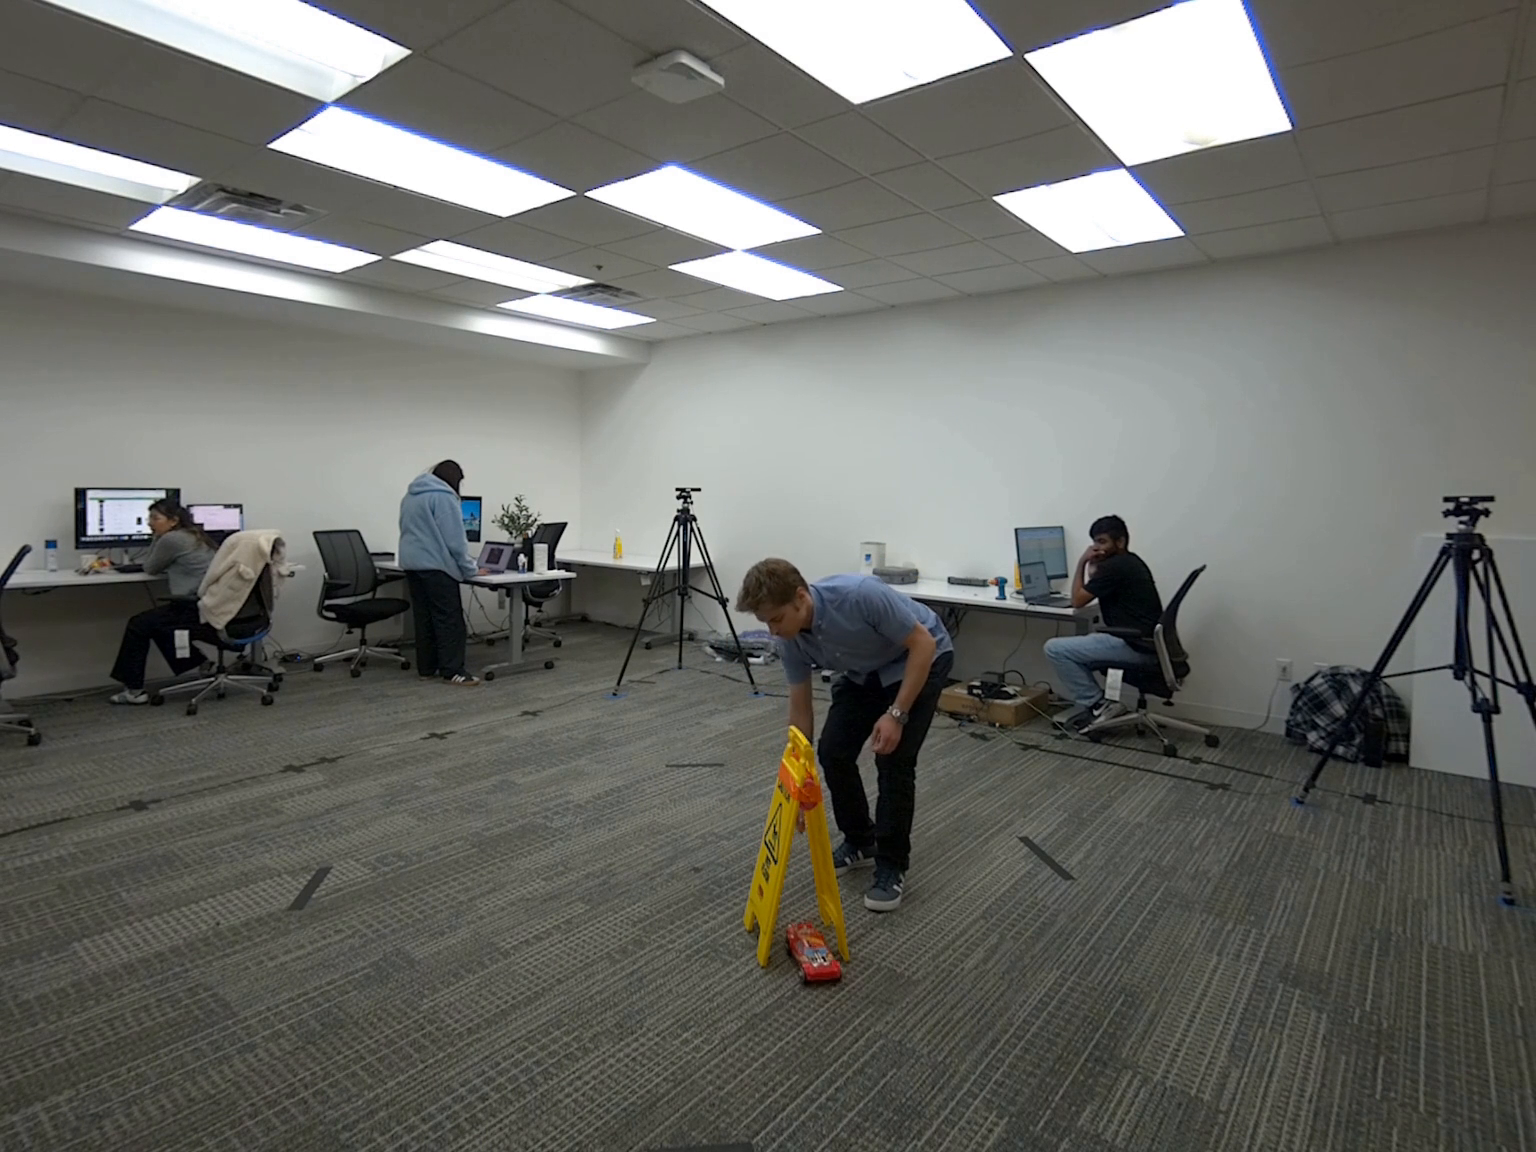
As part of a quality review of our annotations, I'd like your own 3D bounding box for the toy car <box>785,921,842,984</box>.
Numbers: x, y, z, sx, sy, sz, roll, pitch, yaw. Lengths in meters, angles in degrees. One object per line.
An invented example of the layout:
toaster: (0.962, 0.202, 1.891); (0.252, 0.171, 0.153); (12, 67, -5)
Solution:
toy car: (0.120, 1.107, 2.506); (0.129, 0.082, 0.261); (-2, 16, -13)
